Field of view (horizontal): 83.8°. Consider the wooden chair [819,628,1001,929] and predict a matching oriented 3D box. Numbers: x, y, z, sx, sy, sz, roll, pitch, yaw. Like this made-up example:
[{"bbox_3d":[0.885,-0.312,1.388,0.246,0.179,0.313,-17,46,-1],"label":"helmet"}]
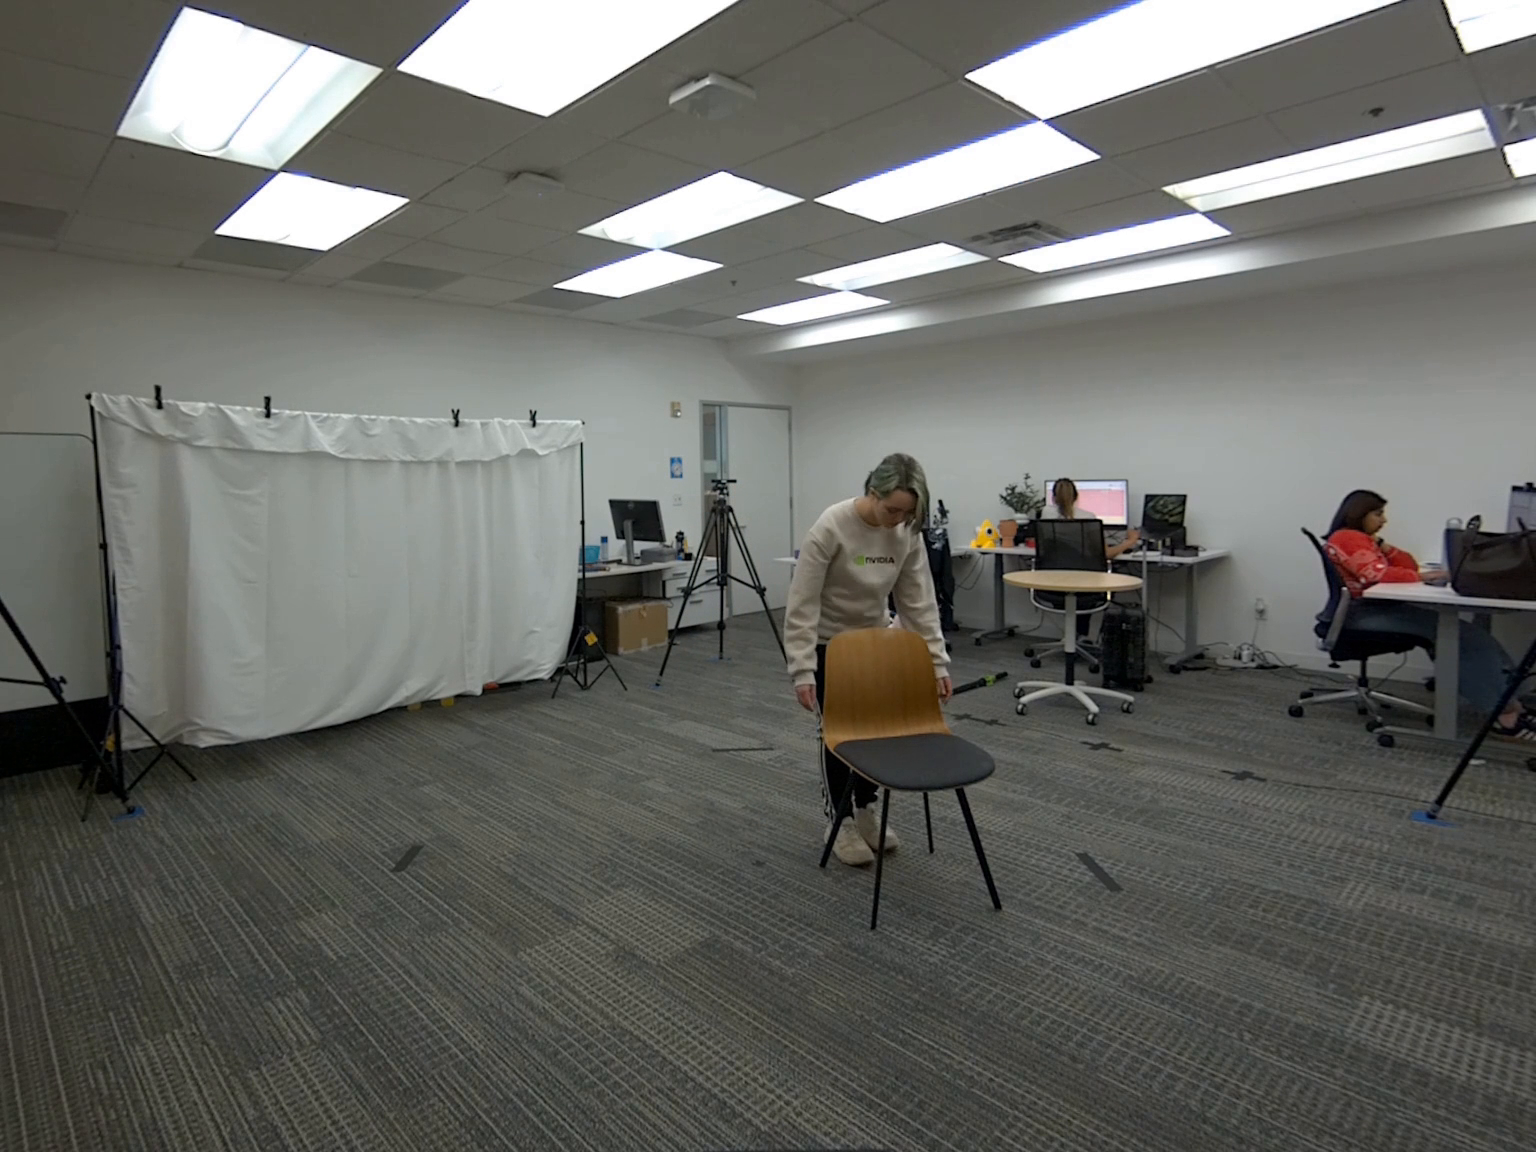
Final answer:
[{"bbox_3d":[0.460,0.639,2.867,0.471,0.878,0.531,-2,0,-16],"label":"wooden chair"}]
